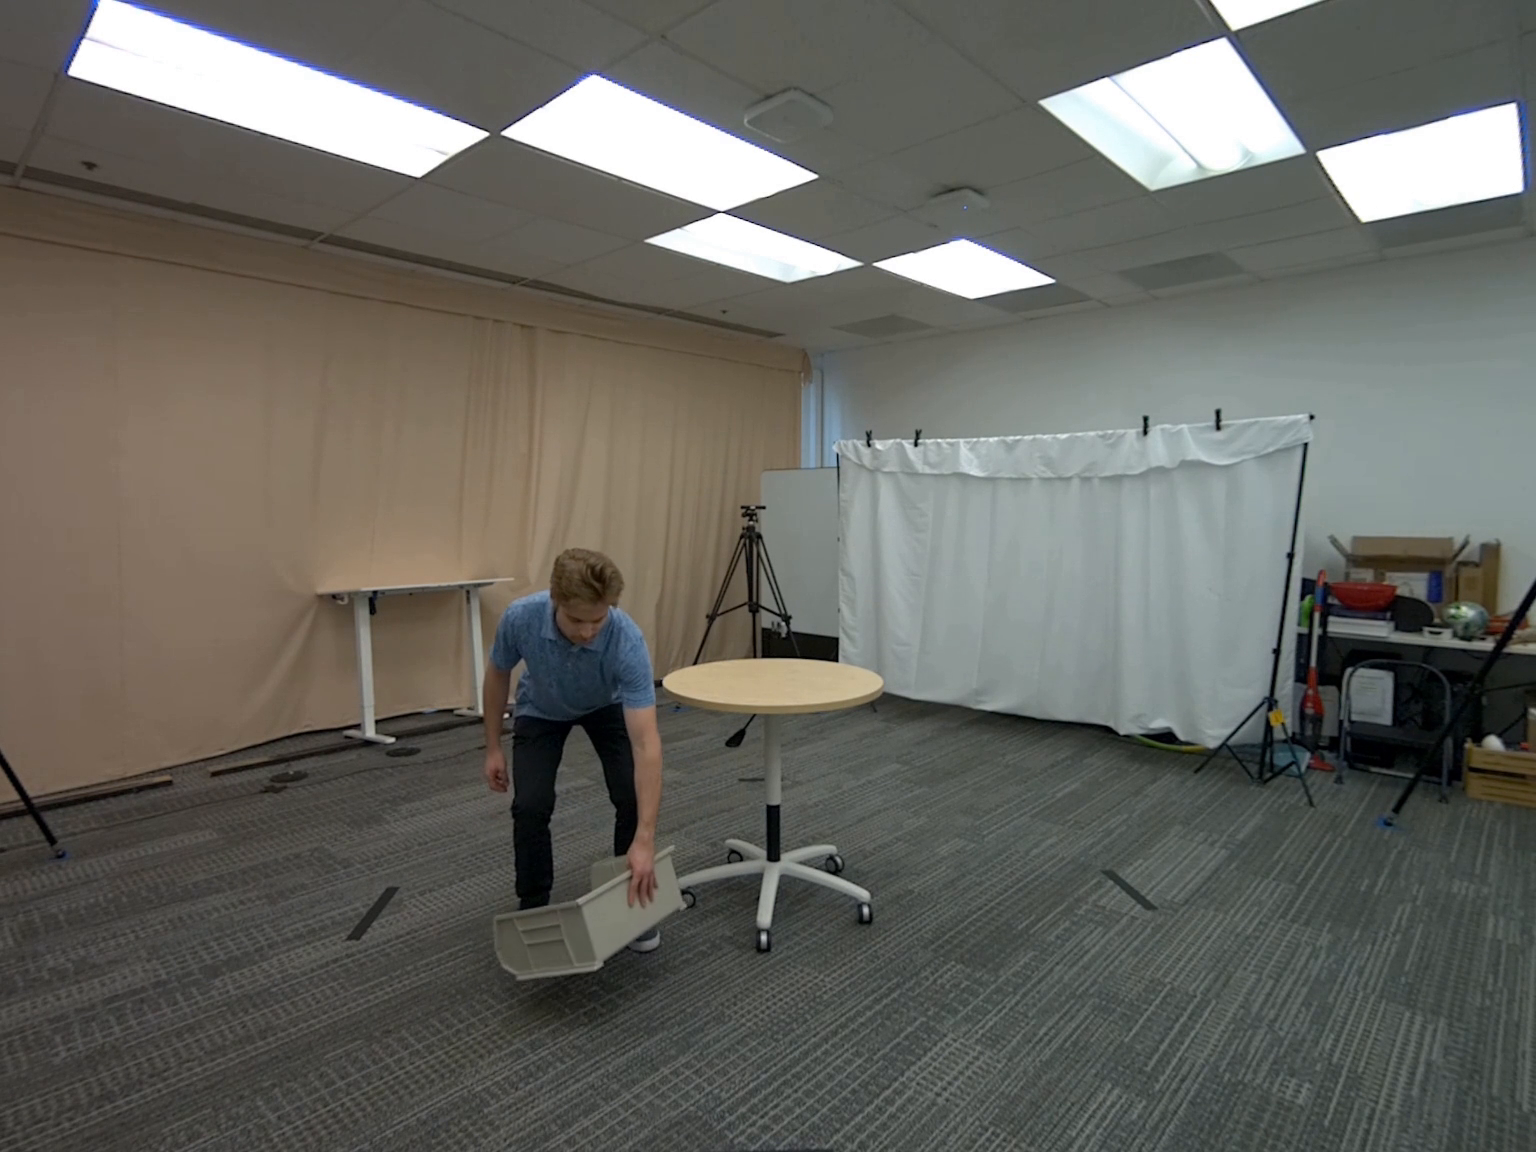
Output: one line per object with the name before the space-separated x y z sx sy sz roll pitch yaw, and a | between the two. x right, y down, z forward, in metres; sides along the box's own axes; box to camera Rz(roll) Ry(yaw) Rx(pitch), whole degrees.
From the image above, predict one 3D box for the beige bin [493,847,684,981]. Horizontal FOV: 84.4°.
beige bin | -0.509 0.963 2.419 0.385 0.190 0.411 -21 -7 30
